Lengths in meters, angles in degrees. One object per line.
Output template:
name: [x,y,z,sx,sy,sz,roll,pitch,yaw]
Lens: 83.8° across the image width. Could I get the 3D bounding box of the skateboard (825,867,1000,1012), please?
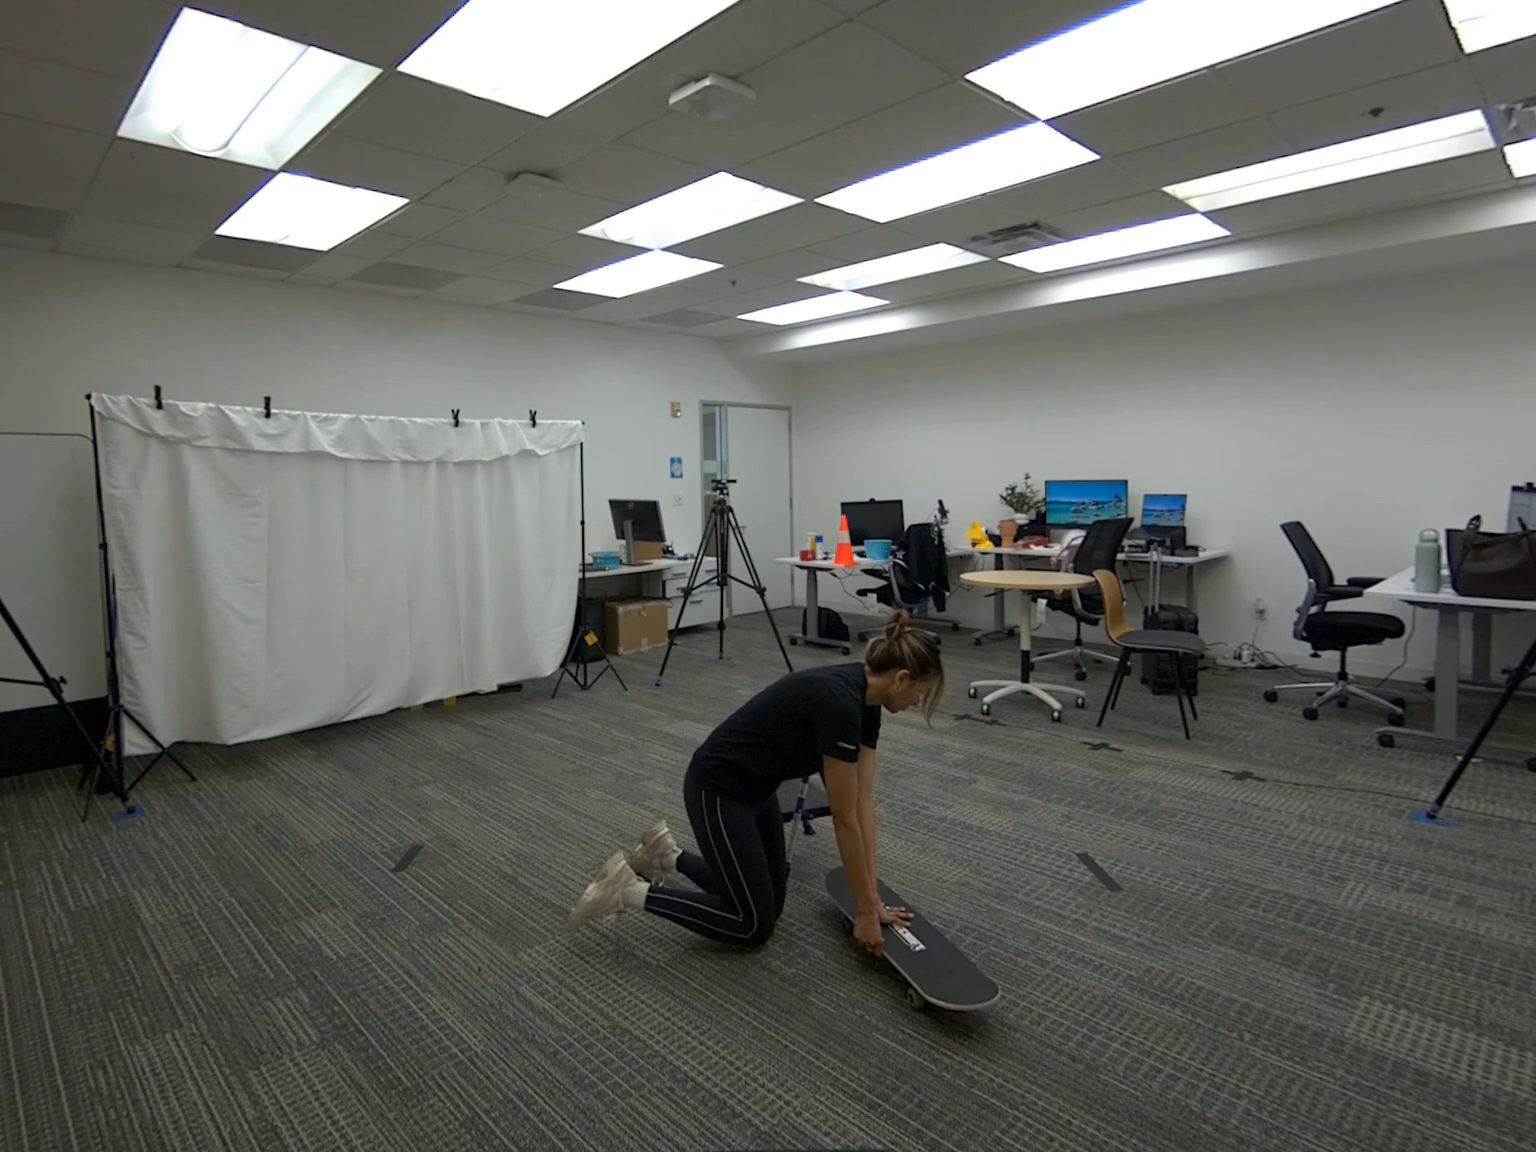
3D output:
skateboard: [0.396,1.057,2.464,0.190,0.110,0.802,-7,8,-19]
